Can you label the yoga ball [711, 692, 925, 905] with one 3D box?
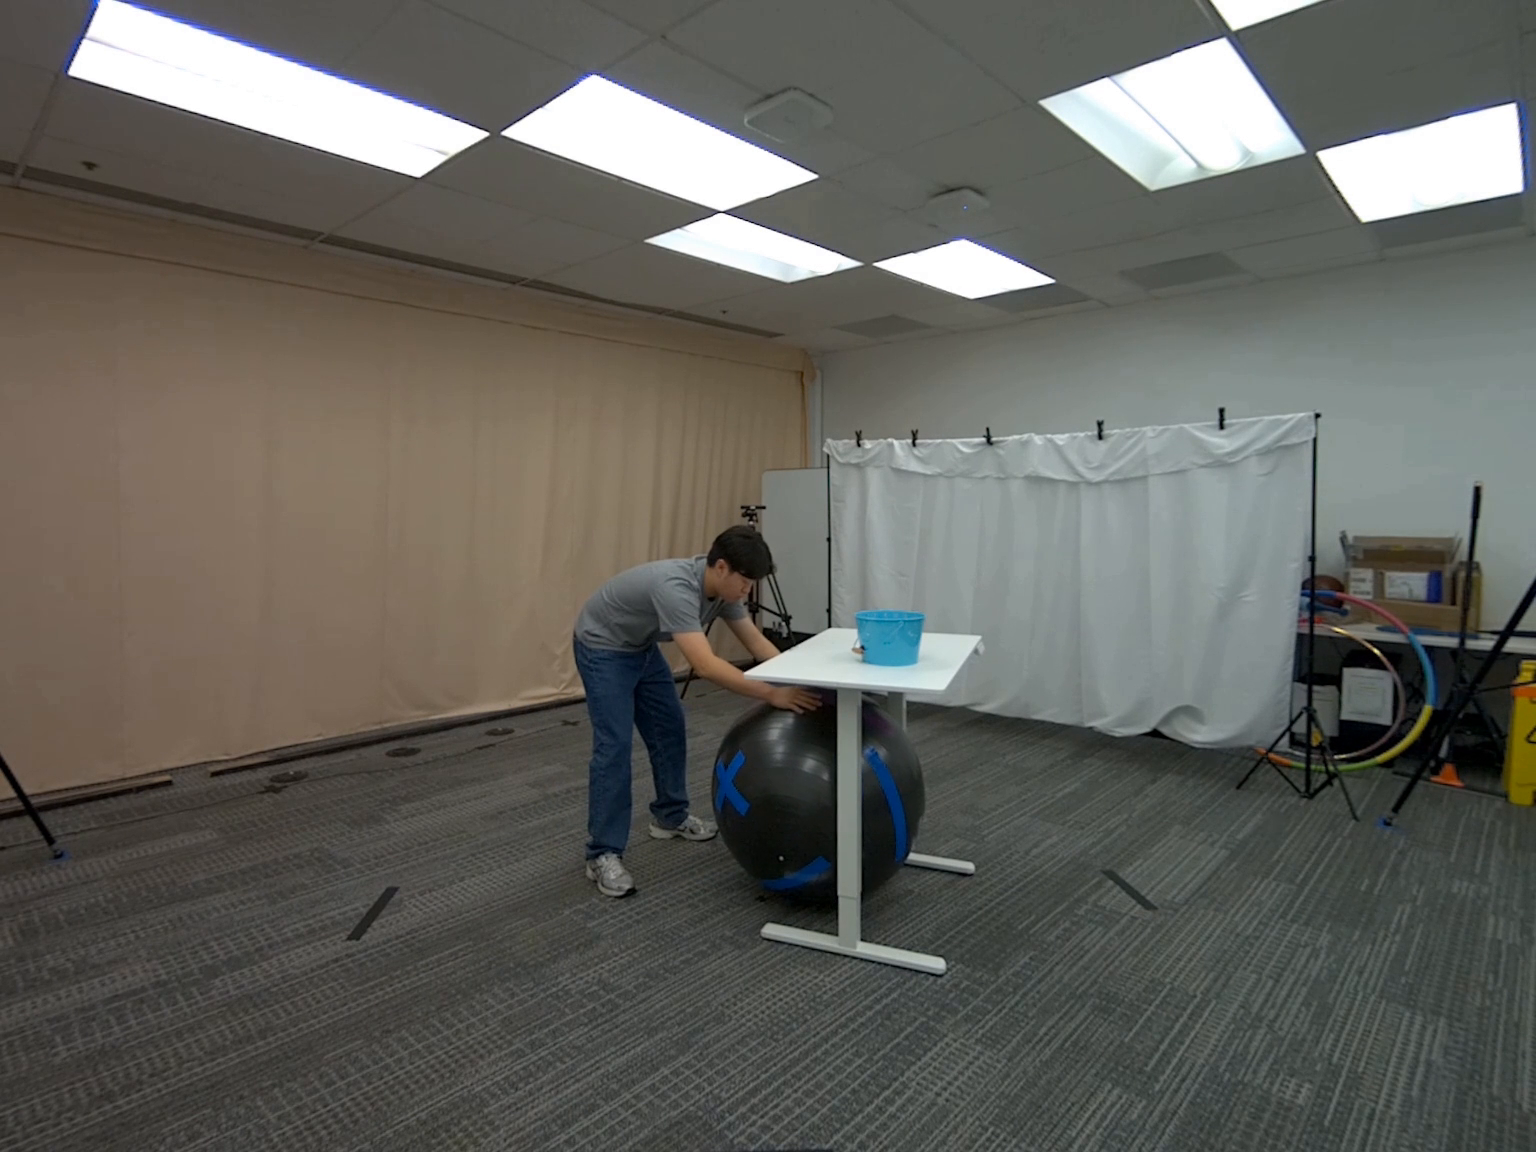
[{"bbox_3d":[0.178,0.771,3.031,0.757,0.756,0.760,0,4,-2],"label":"yoga ball"}]
